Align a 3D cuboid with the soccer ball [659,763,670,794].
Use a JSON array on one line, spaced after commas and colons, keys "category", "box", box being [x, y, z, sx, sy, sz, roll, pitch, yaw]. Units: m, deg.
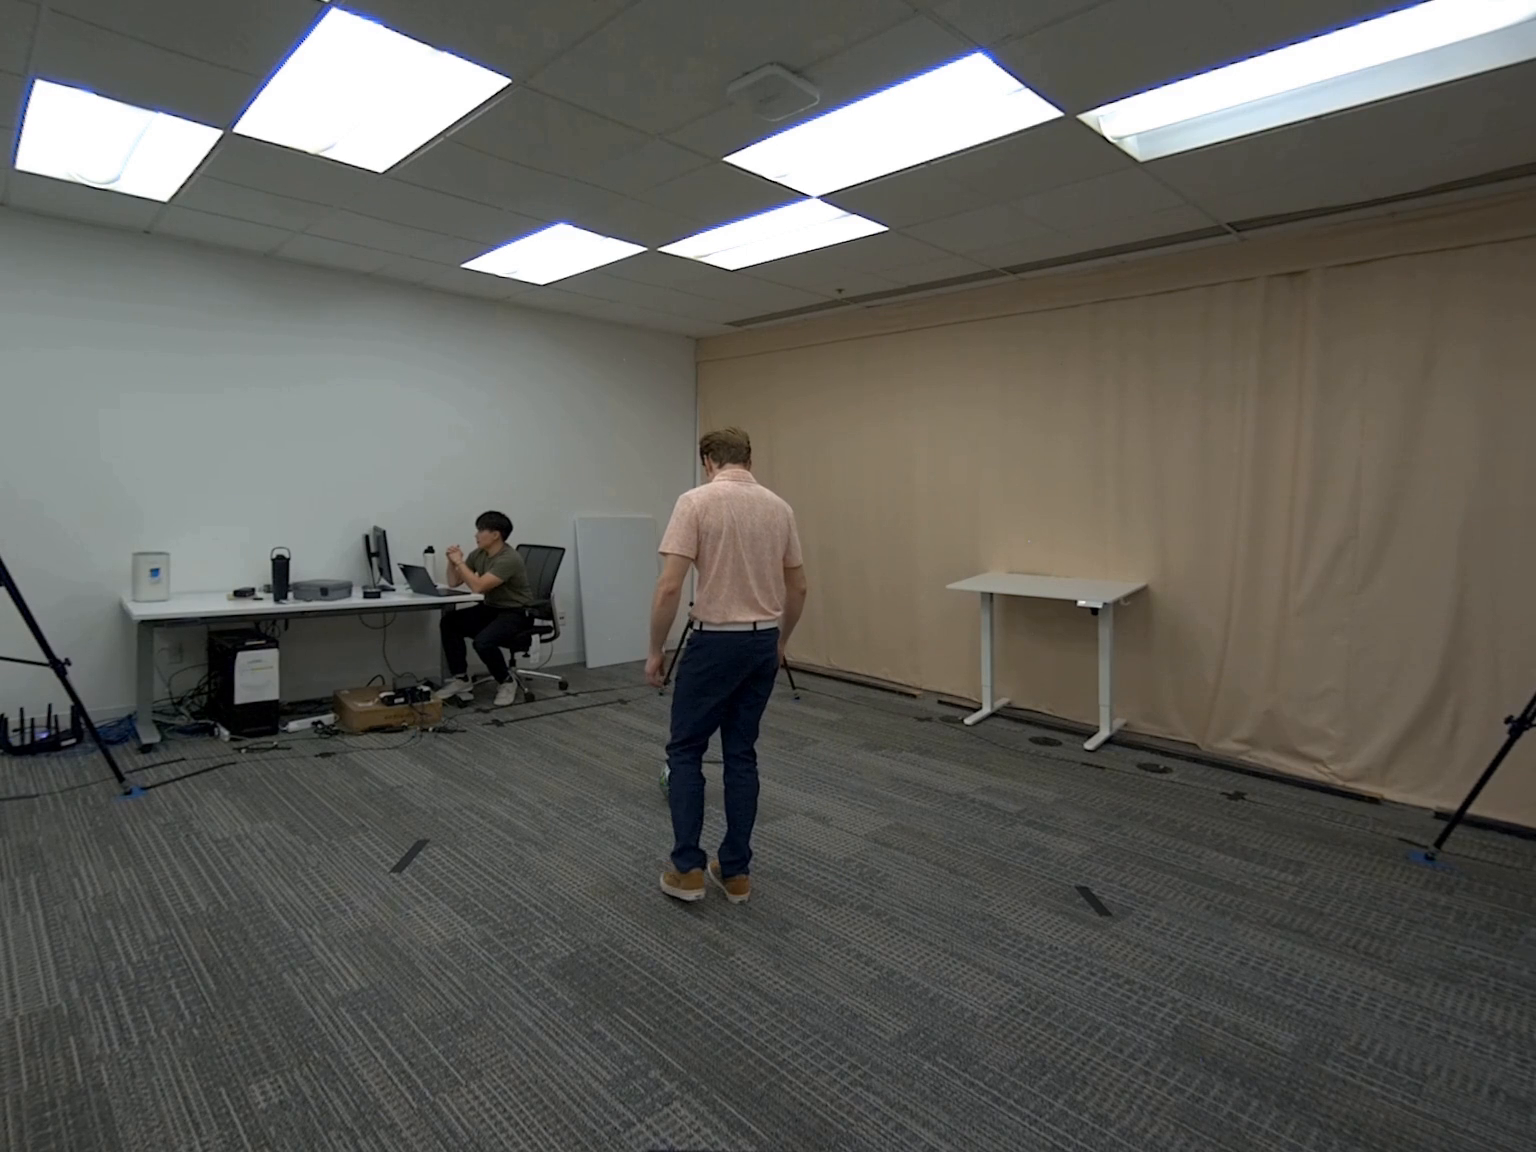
[{"category": "soccer ball", "box": [-0.417, 0.941, 3.869, 0.187, 0.187, 0.188, 1, 4, -1]}]
